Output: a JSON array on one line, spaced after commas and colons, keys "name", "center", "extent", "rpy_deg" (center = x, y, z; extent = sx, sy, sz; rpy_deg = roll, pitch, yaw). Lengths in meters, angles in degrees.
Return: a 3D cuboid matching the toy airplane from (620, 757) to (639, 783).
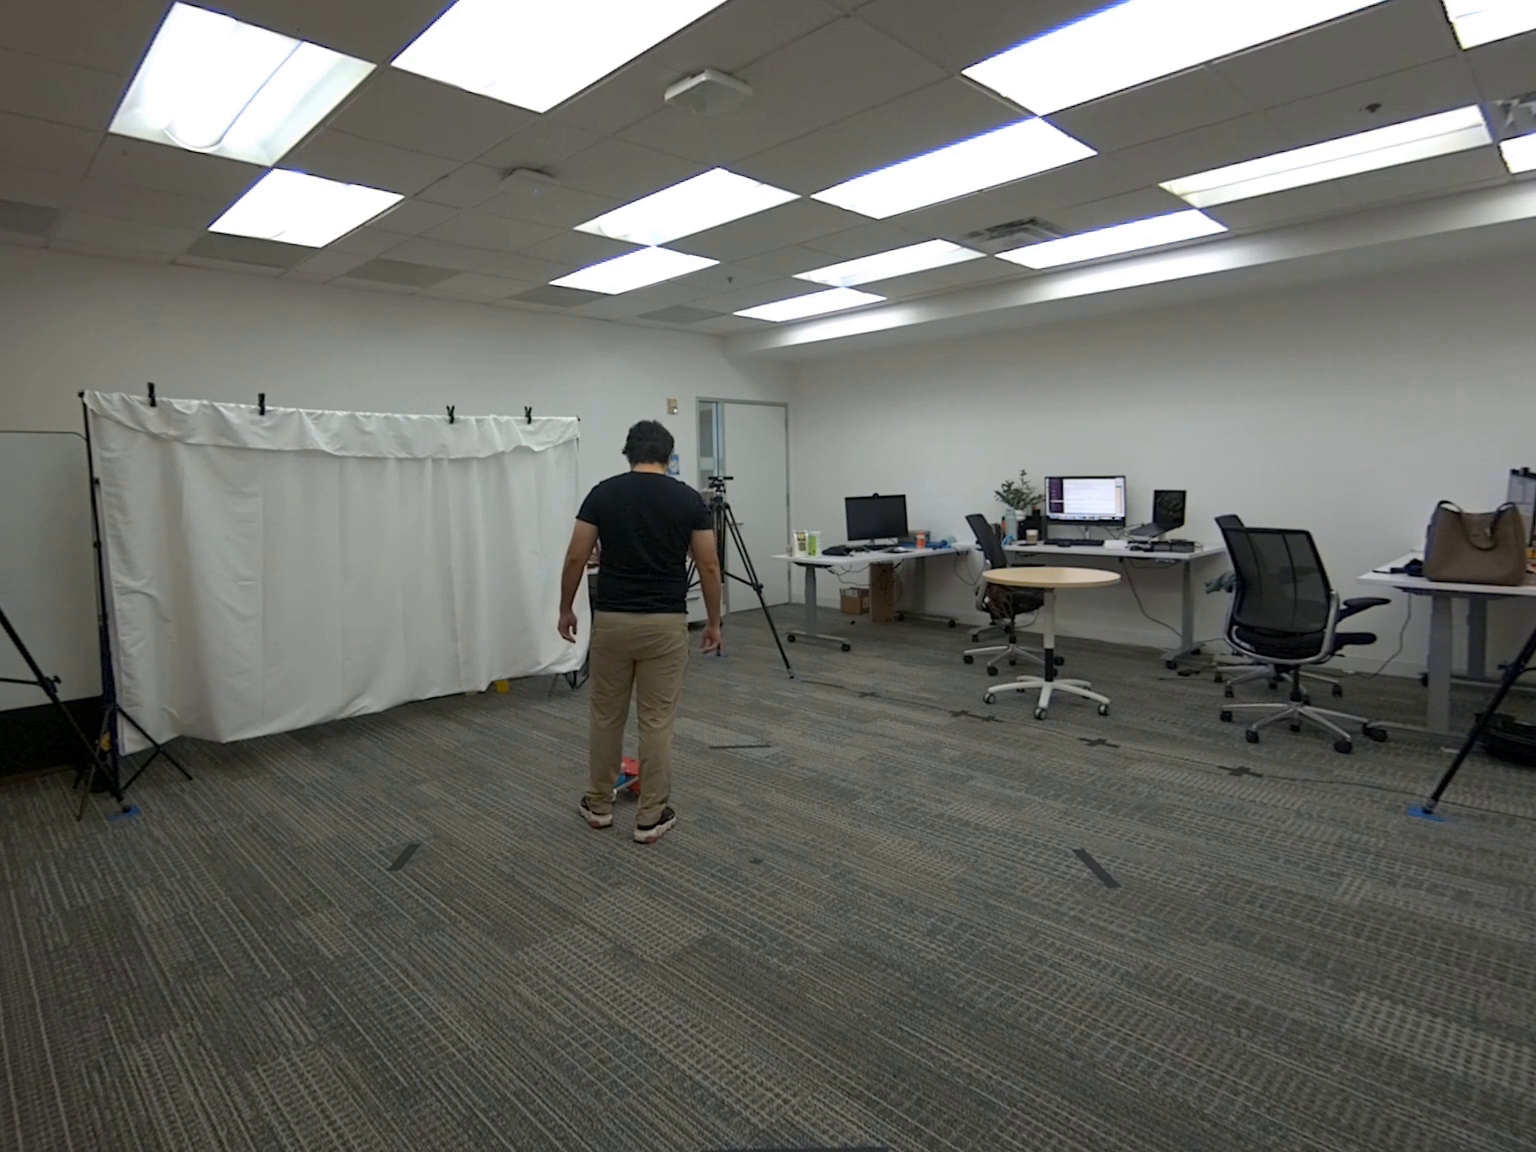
[{"name": "toy airplane", "center": [-0.607, 0.902, 3.740], "extent": [0.254, 0.156, 0.256], "rpy_deg": [-1, 4, 13]}]
